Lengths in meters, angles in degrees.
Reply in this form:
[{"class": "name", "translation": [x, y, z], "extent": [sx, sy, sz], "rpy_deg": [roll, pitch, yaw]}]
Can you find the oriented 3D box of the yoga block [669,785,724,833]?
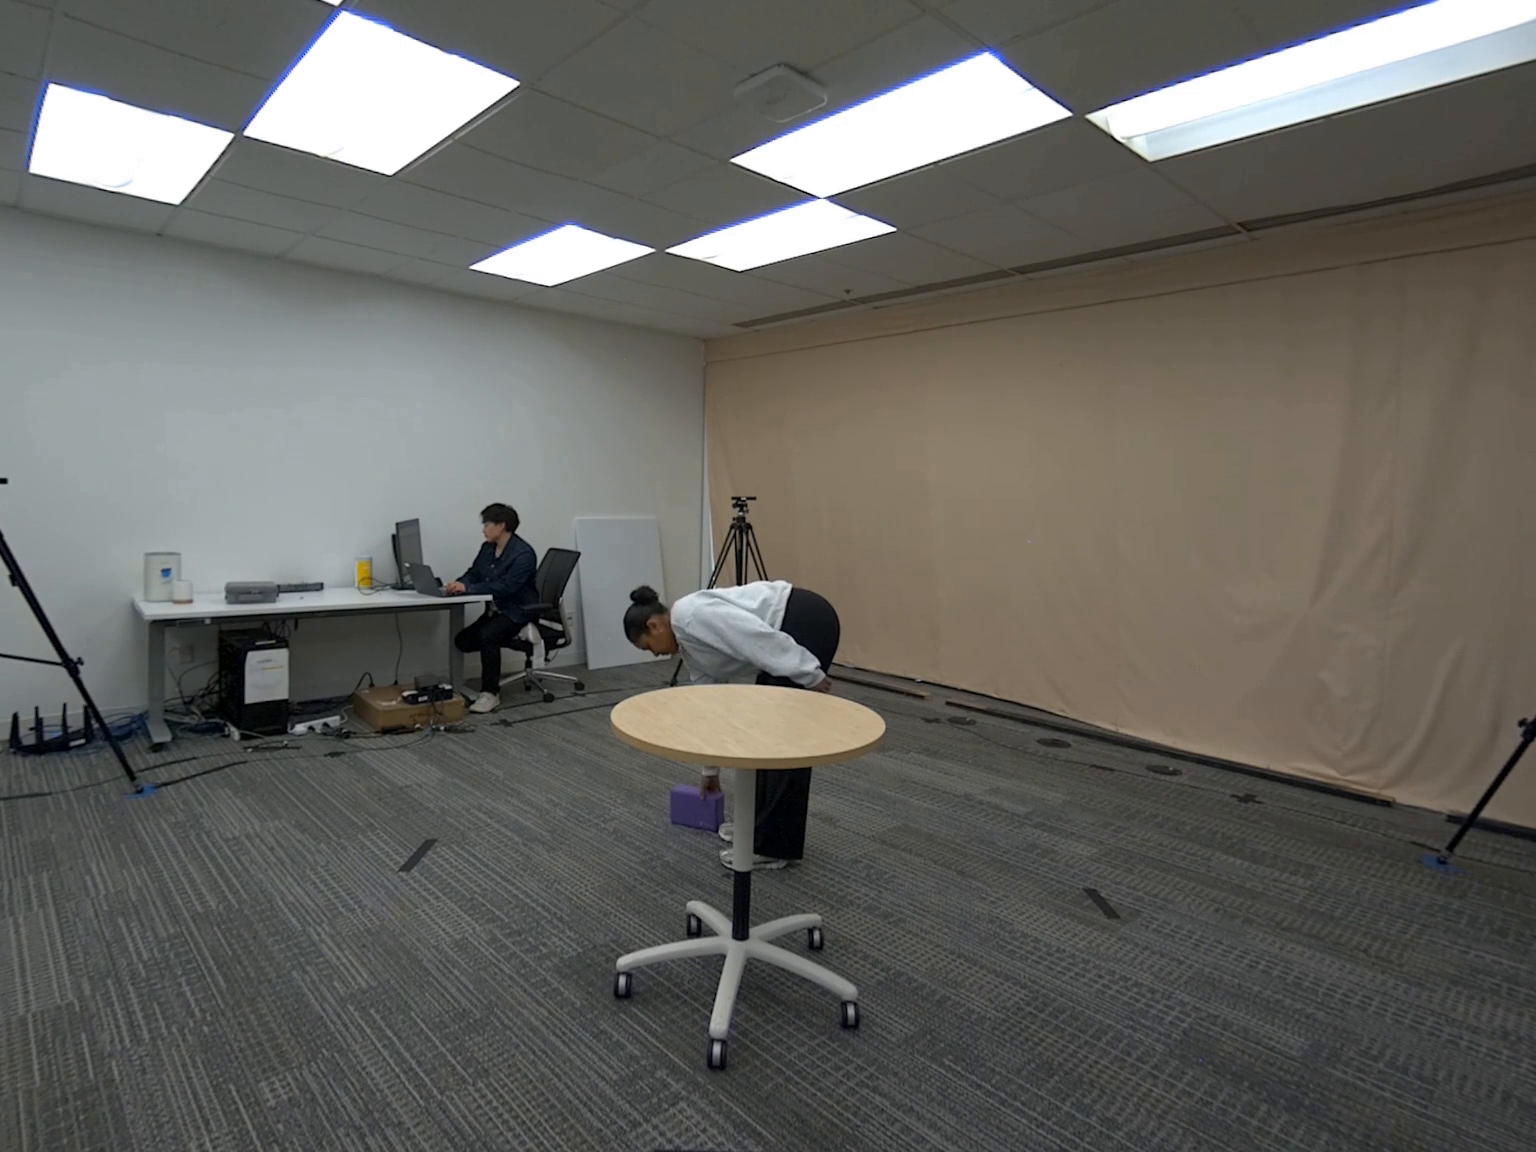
[{"class": "yoga block", "translation": [-0.313, 0.955, 3.575], "extent": [0.233, 0.148, 0.075], "rpy_deg": [2, 6, 24]}]
